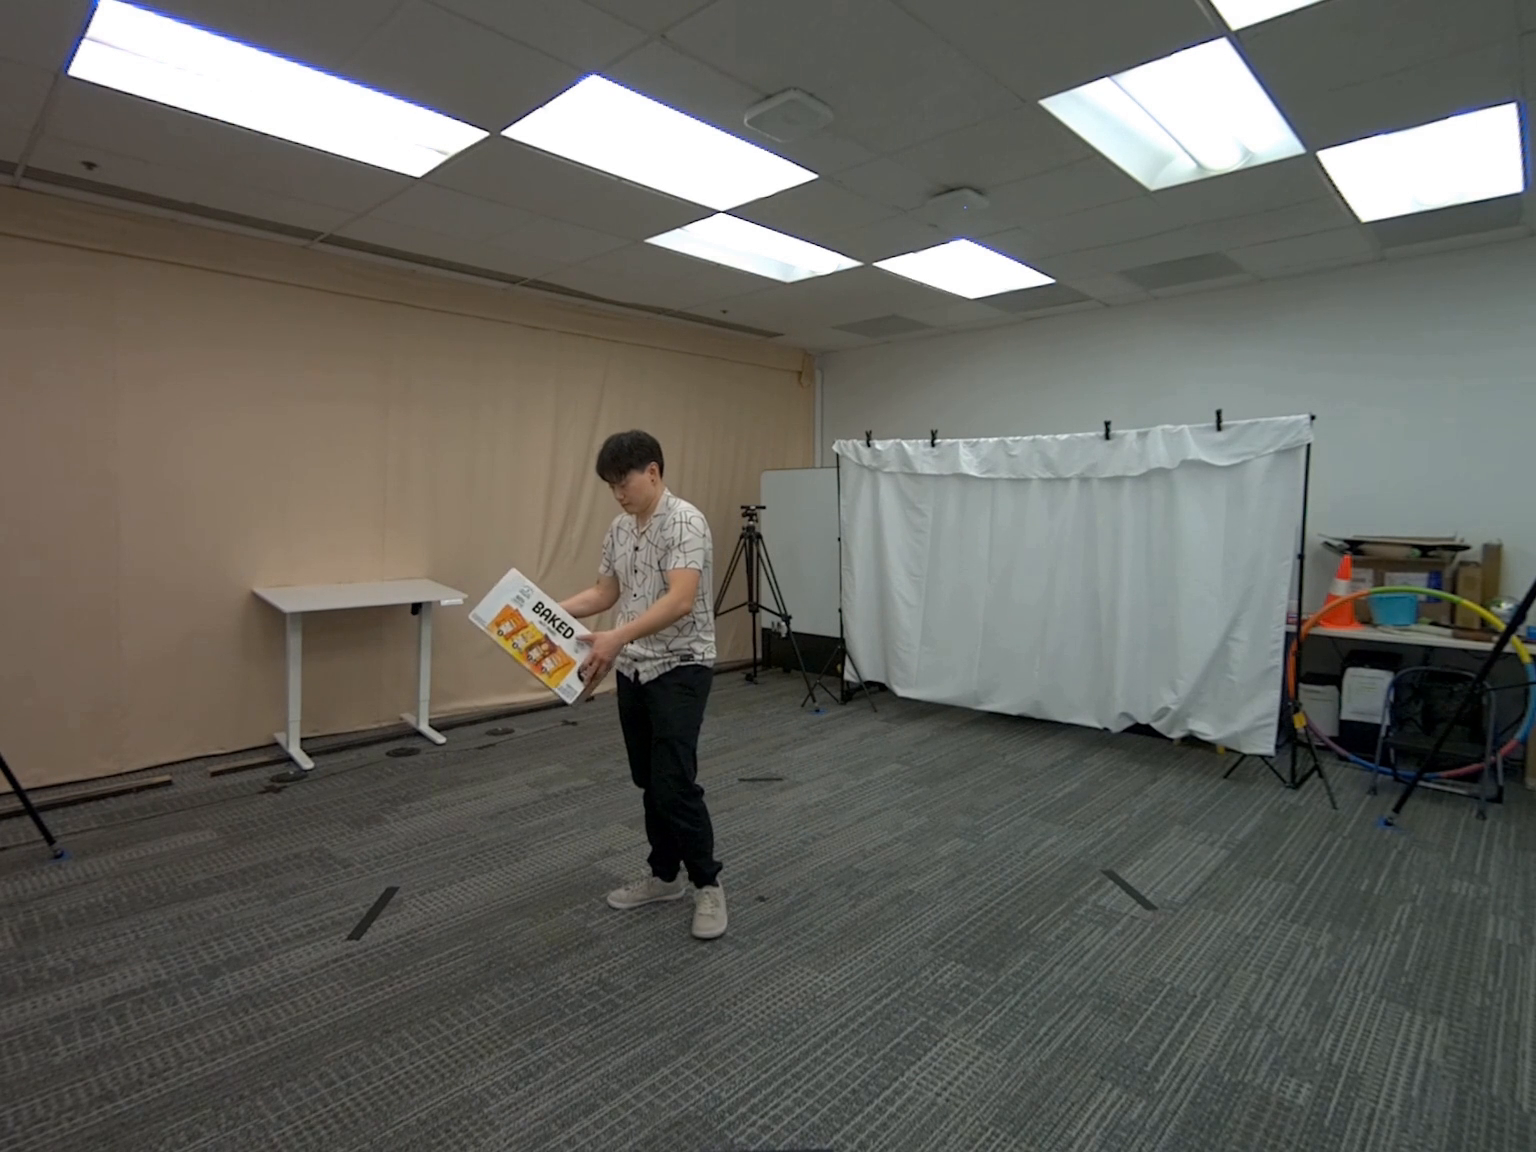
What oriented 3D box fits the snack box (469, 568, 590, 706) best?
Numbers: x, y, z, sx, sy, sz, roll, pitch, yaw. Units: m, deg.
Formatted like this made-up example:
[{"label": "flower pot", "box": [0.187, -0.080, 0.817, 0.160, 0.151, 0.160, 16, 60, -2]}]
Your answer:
[{"label": "snack box", "box": [-0.699, 0.214, 2.664, 0.407, 0.205, 0.340, 39, -15, 3]}]
